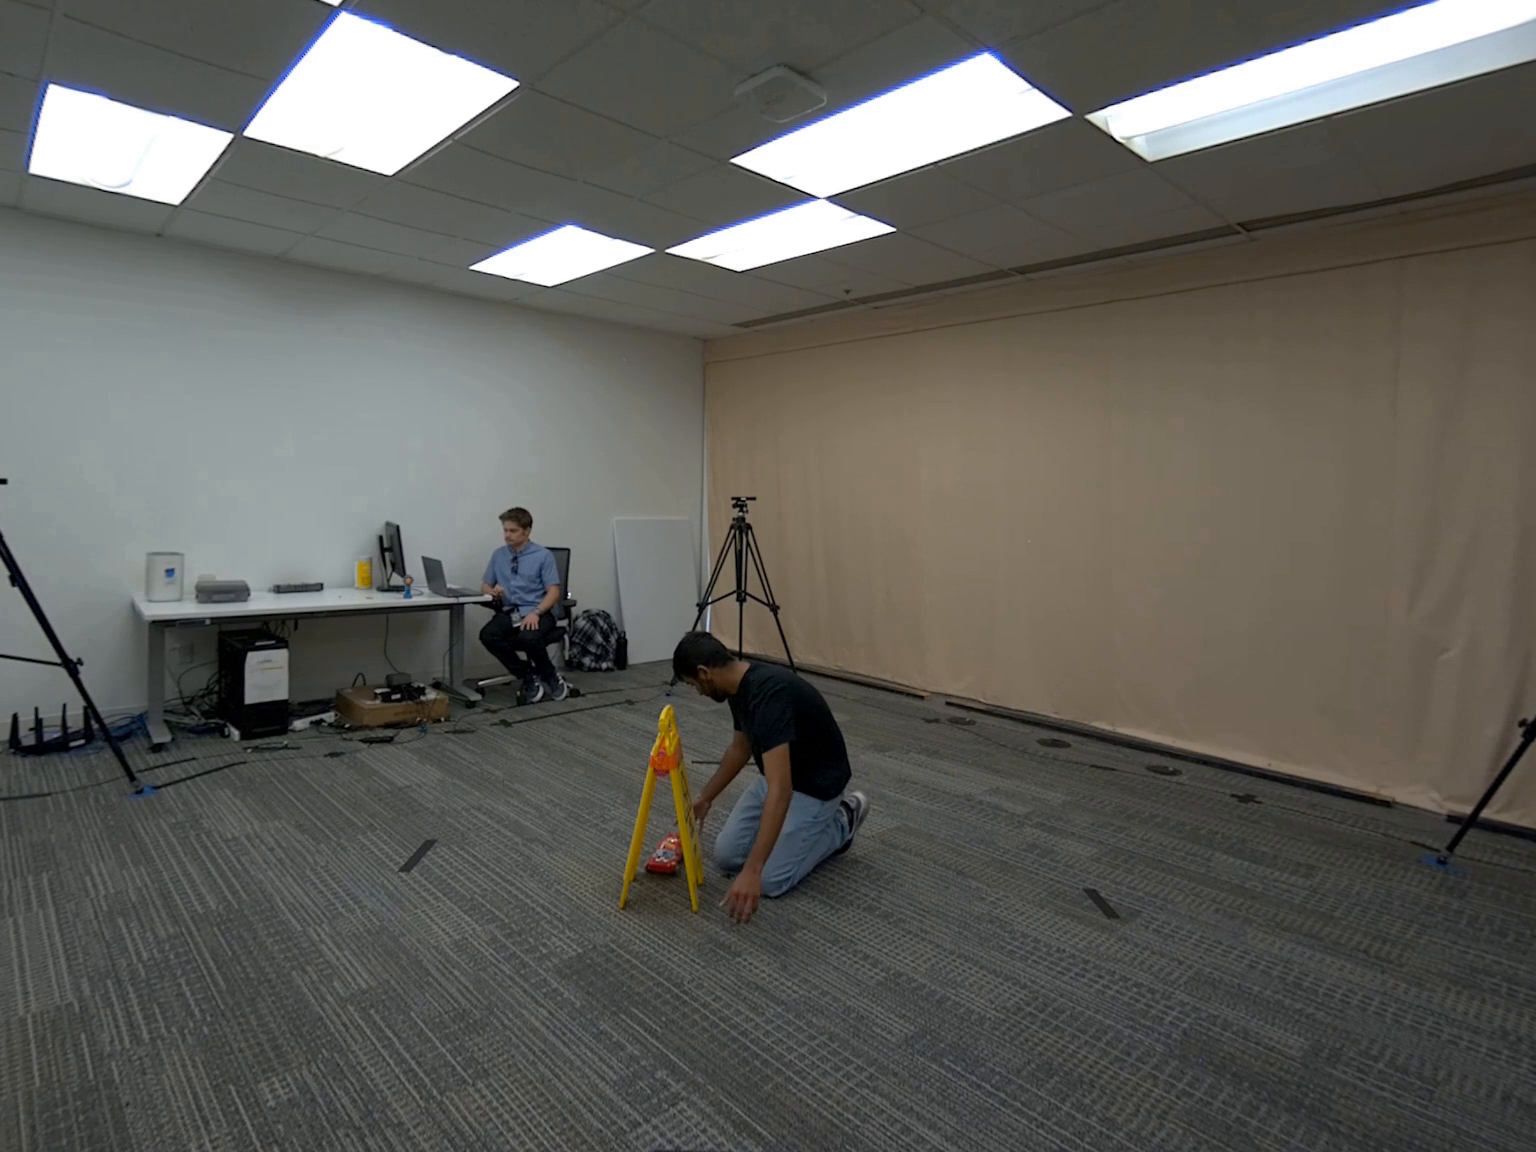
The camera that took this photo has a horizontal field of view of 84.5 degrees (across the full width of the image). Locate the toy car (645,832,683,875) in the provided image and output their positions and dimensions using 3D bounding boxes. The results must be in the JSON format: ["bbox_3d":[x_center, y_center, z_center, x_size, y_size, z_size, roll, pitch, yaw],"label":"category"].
[{"bbox_3d":[-0.377,1.053,3.198,0.131,0.082,0.255,0,16,8],"label":"toy car"}]
